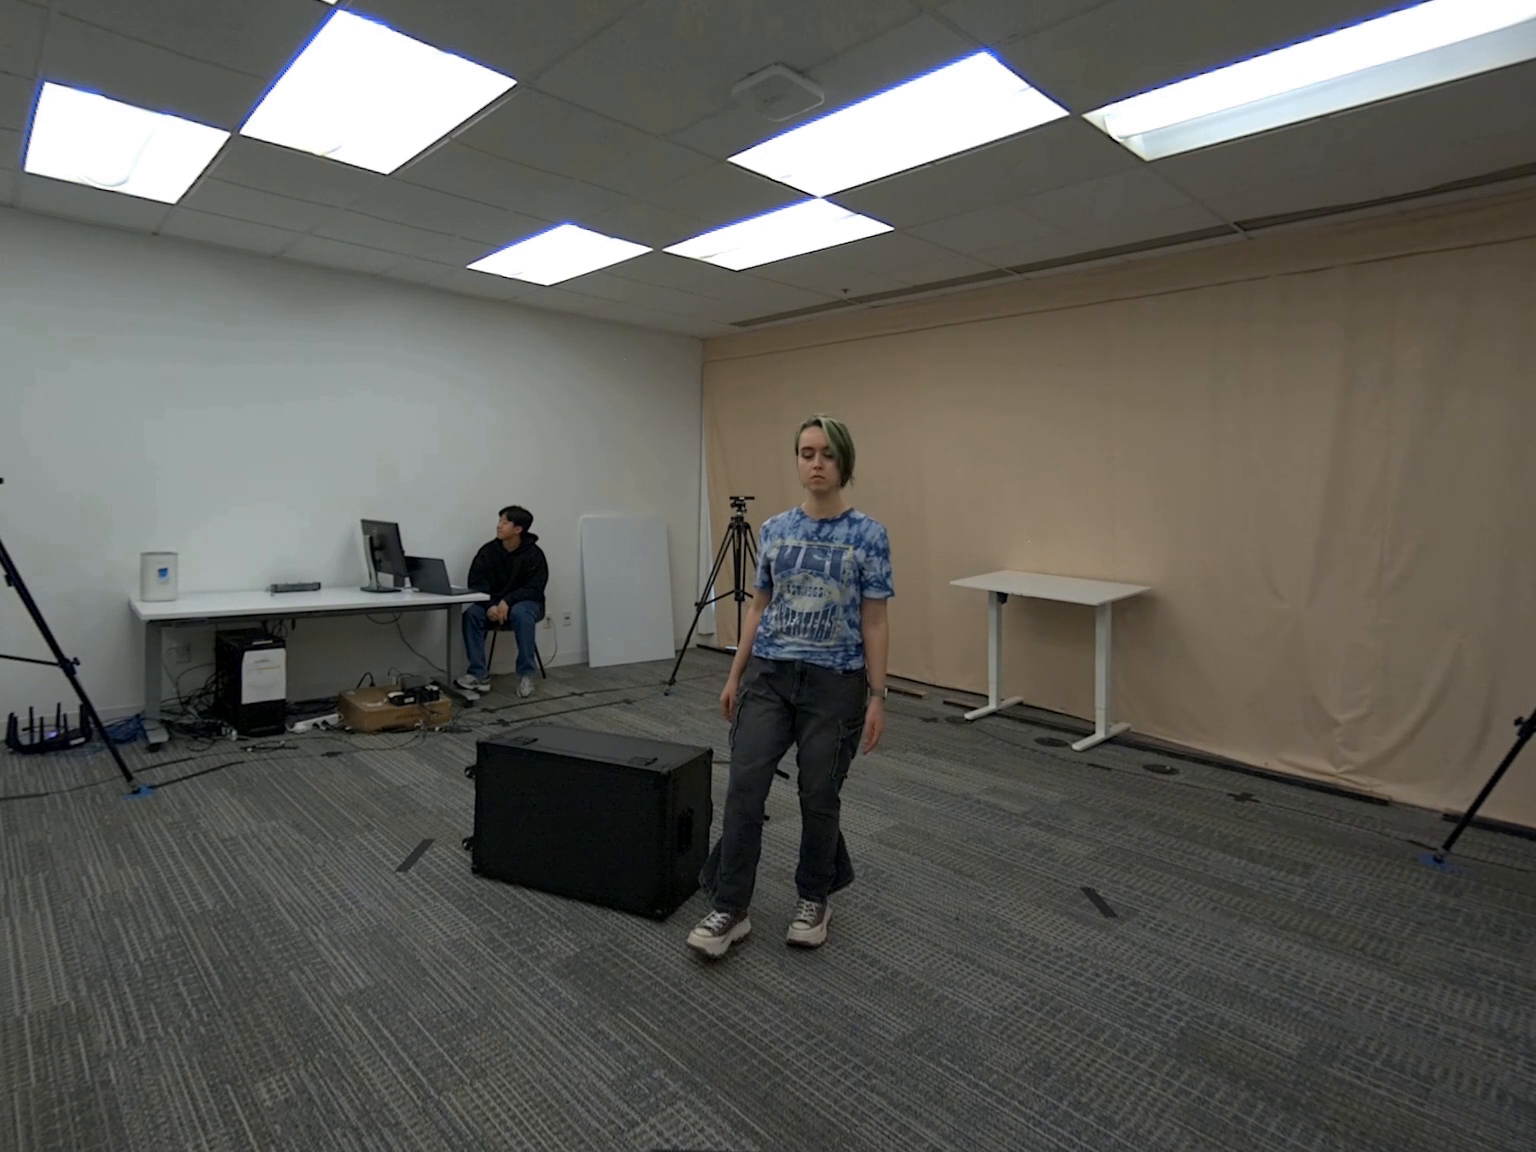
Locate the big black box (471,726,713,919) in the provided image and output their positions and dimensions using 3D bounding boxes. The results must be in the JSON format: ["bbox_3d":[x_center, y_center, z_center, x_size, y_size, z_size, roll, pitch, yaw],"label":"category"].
[{"bbox_3d":[-0.663,0.840,3.067,0.877,0.521,0.389,4,2,22],"label":"big black box"}]
